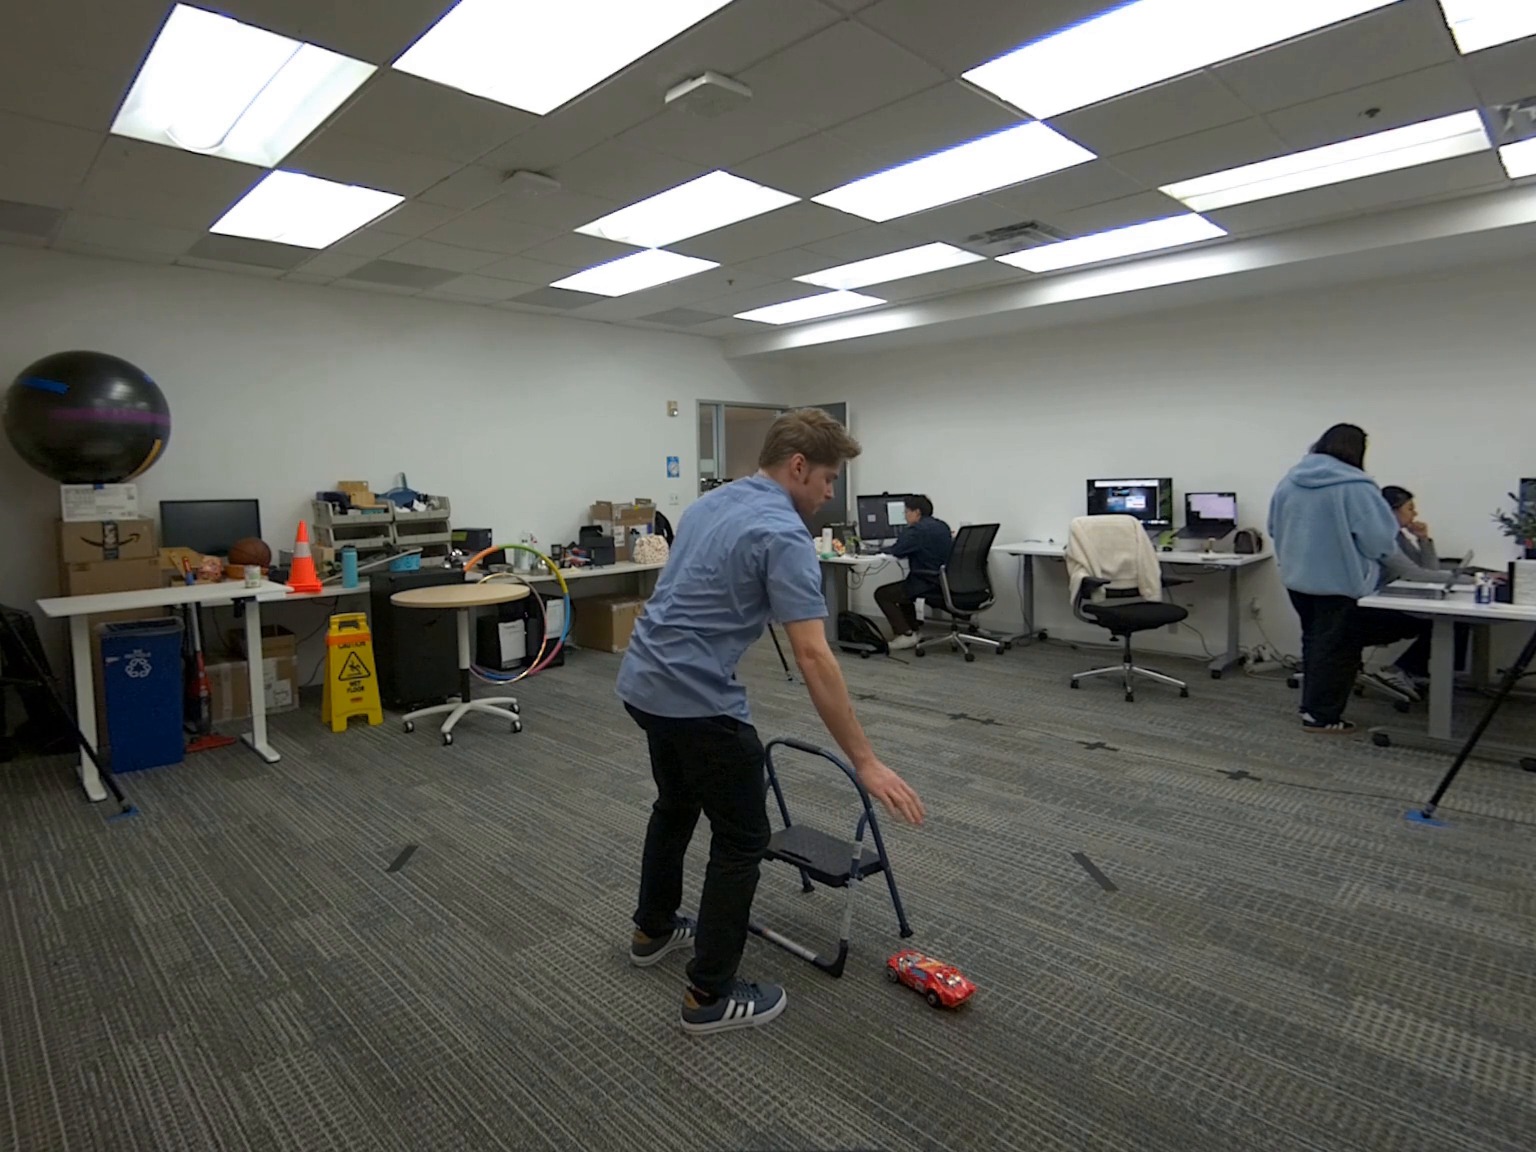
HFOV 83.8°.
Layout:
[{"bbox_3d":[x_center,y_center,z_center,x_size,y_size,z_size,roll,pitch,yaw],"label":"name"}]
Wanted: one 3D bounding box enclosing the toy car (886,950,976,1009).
[{"bbox_3d":[0.445,1.091,2.316,0.127,0.083,0.260,-6,-2,-37],"label":"toy car"}]
